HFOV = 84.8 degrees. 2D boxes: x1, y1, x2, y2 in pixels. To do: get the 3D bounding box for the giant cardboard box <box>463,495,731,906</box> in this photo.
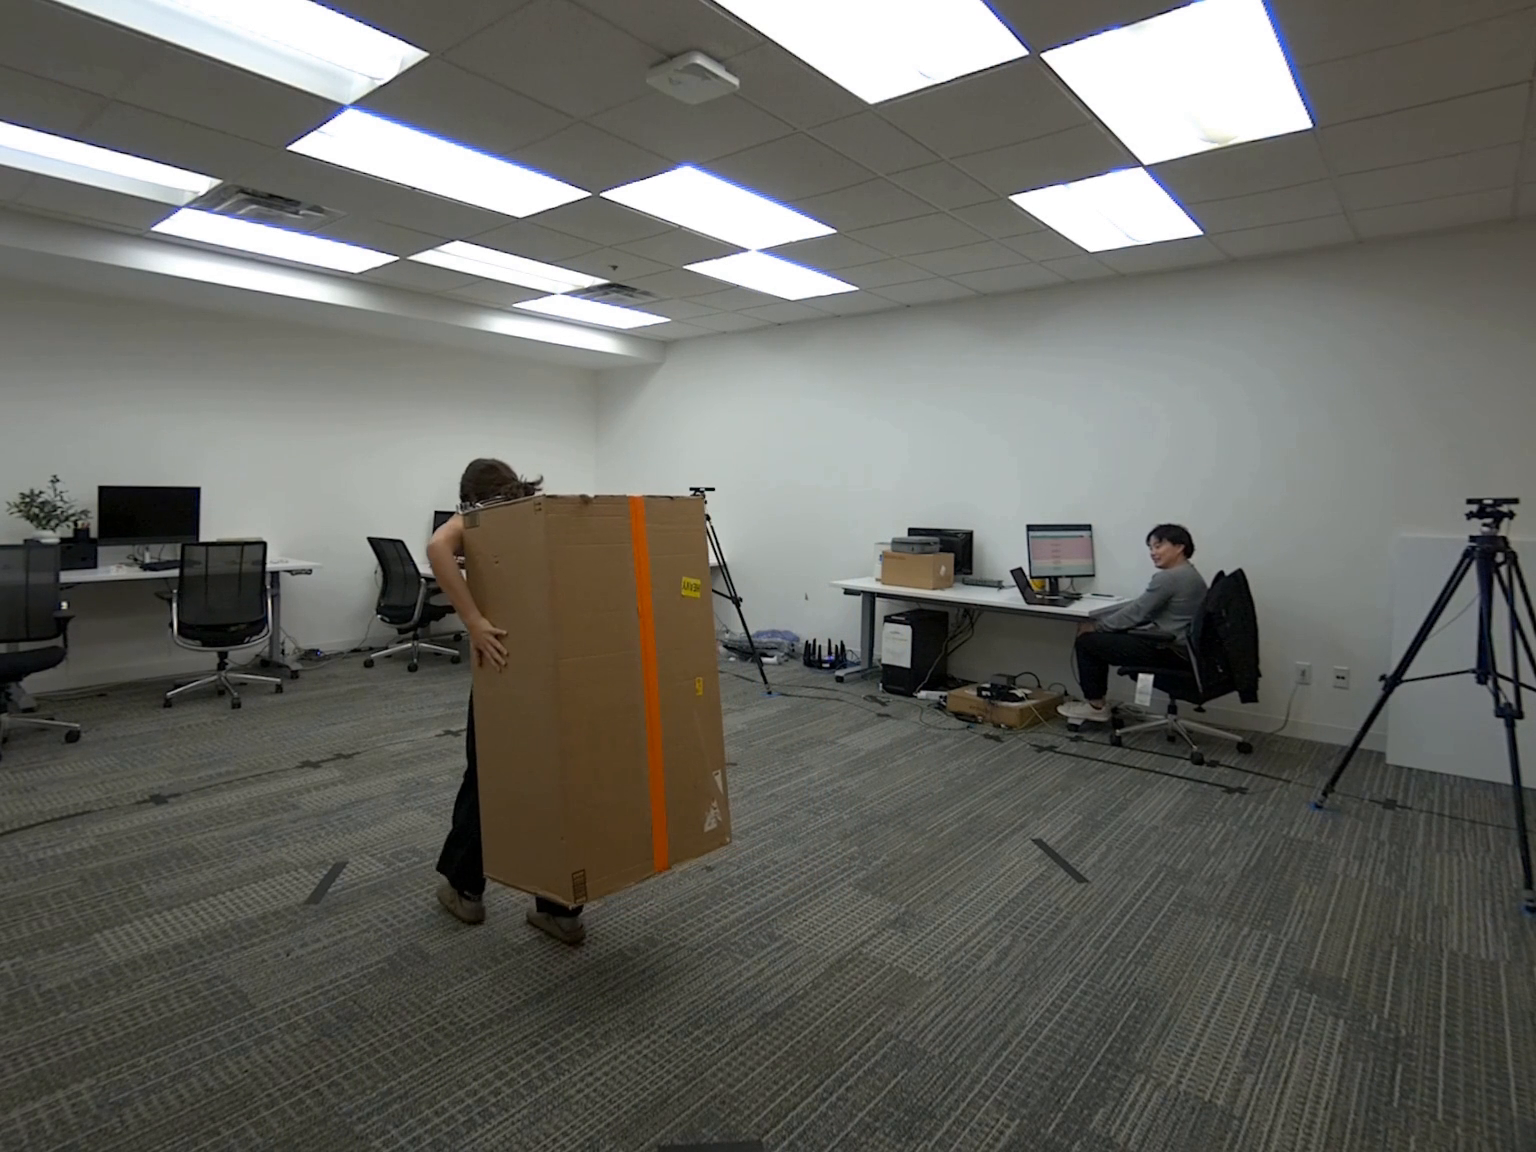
[{"bbox_3d":[-0.495,0.303,2.439,0.438,1.029,0.560,-7,-3,43],"label":"giant cardboard box"}]
